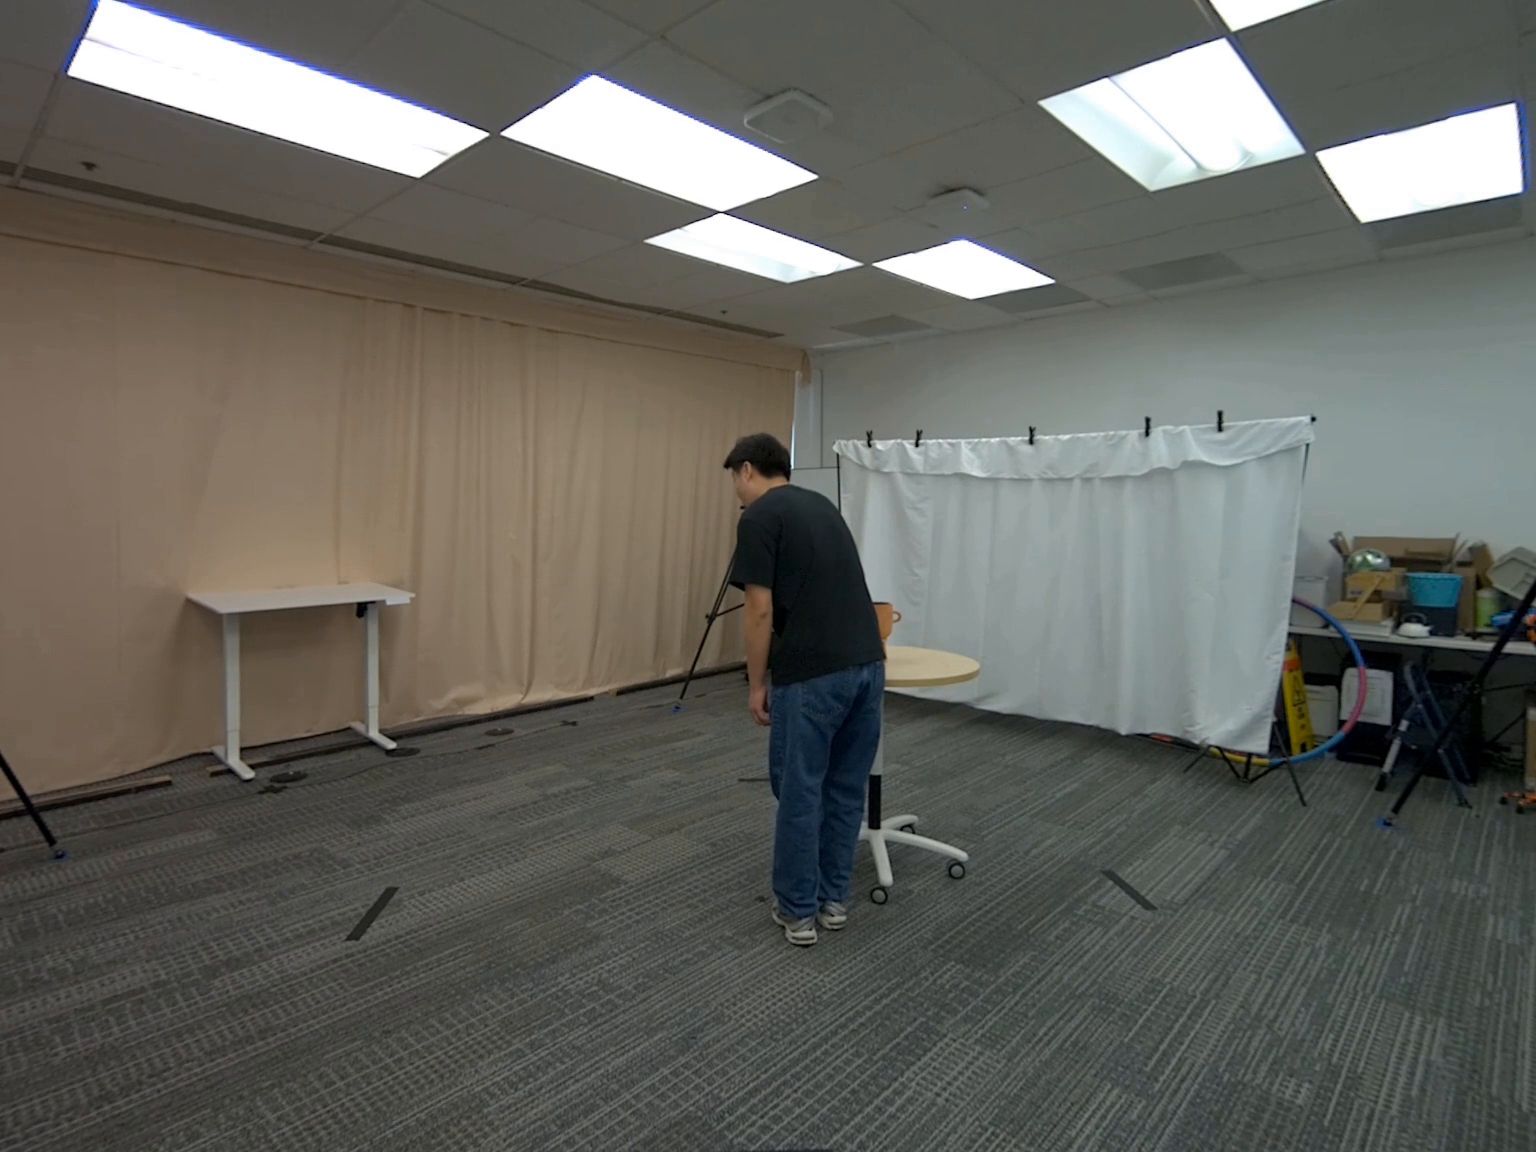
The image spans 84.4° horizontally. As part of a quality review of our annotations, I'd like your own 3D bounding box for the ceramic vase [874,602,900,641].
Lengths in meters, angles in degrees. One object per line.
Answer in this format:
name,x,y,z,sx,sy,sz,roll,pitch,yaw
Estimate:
ceramic vase,0.418,0.211,3.231,0.130,0.219,0.164,-3,4,-41
